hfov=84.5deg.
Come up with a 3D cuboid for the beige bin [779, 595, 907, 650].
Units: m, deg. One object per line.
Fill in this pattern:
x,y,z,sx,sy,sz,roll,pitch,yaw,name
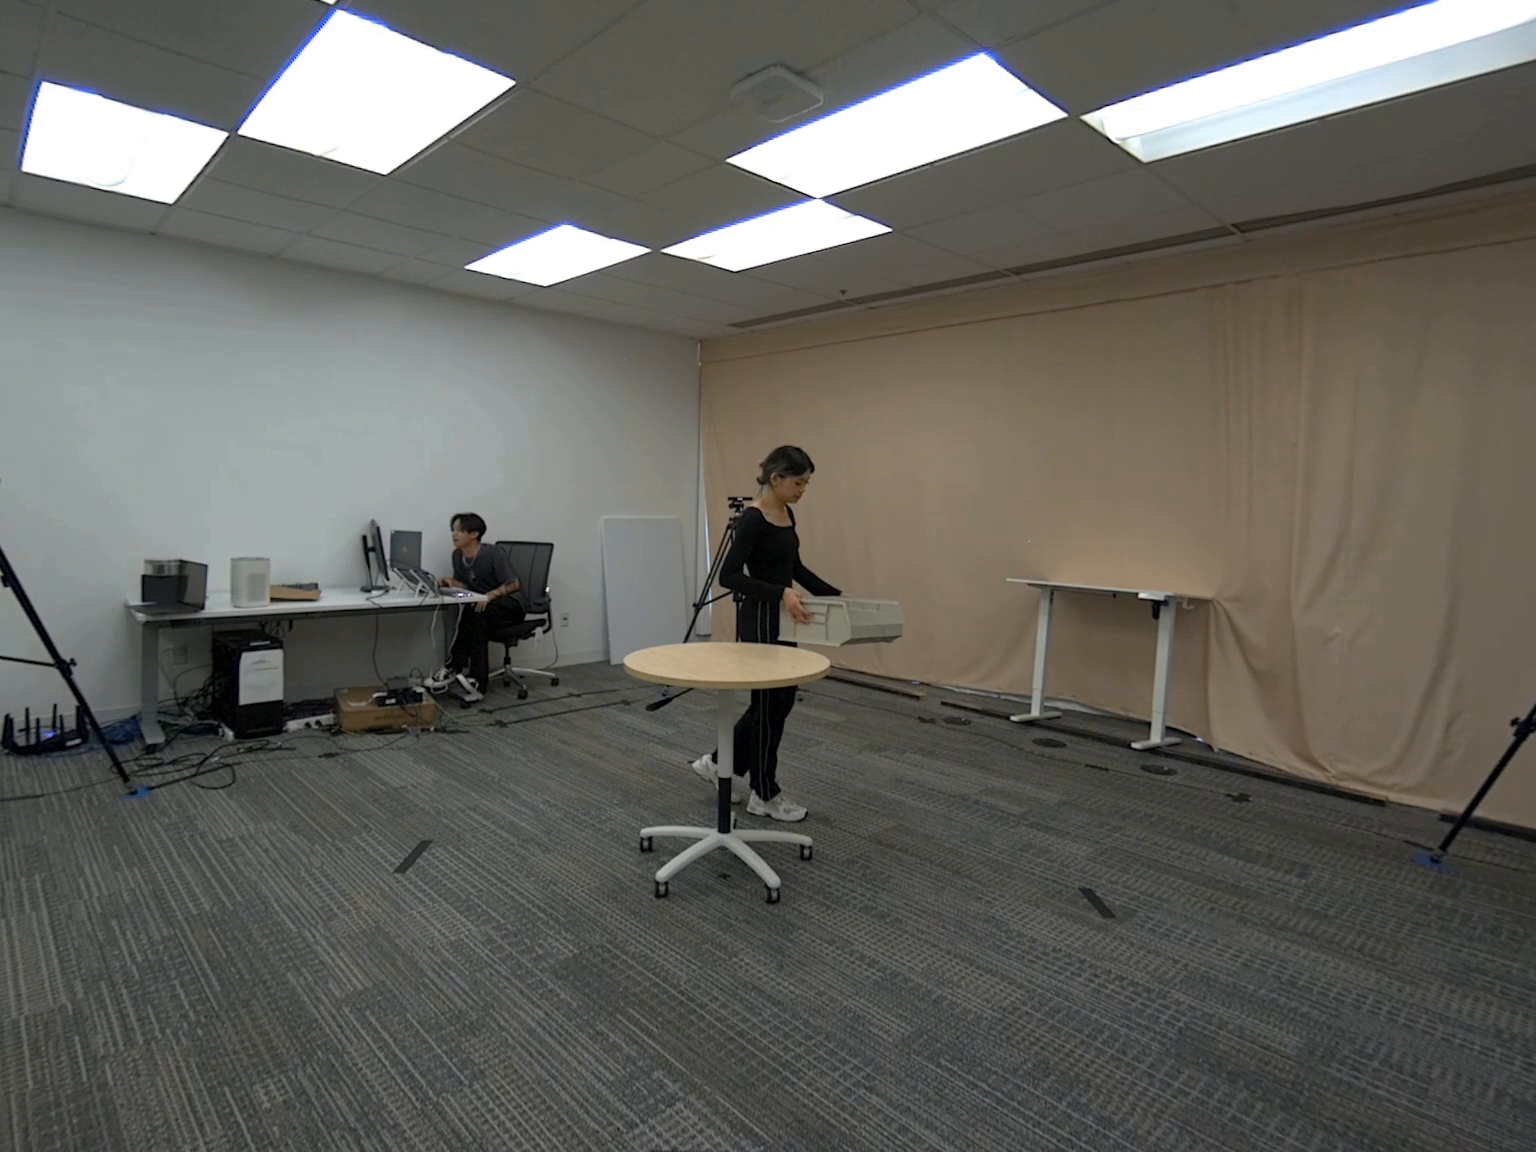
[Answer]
0.306,0.184,3.566,0.386,0.189,0.412,1,0,40,beige bin
